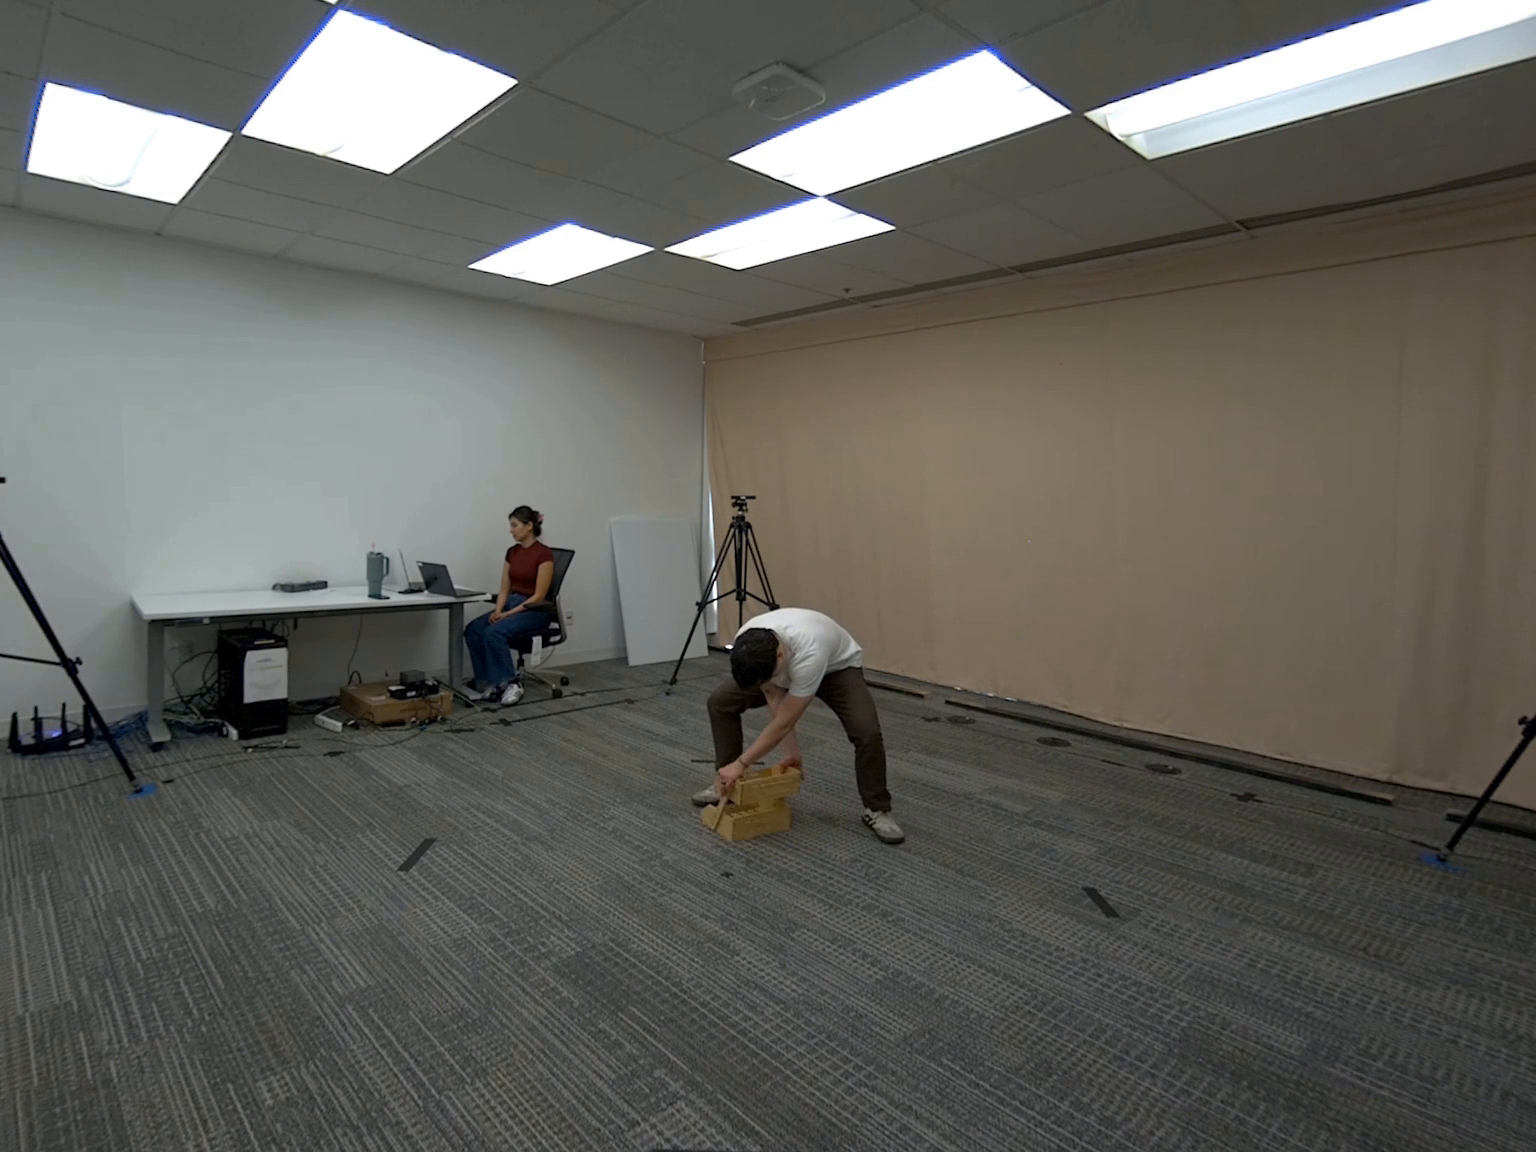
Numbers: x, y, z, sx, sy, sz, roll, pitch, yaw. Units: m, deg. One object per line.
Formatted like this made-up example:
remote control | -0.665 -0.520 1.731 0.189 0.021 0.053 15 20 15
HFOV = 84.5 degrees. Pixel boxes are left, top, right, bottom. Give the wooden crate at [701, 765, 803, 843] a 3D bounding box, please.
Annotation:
wooden crate | -0.080 0.931 3.557 0.317 0.272 0.309 -1 5 -35
